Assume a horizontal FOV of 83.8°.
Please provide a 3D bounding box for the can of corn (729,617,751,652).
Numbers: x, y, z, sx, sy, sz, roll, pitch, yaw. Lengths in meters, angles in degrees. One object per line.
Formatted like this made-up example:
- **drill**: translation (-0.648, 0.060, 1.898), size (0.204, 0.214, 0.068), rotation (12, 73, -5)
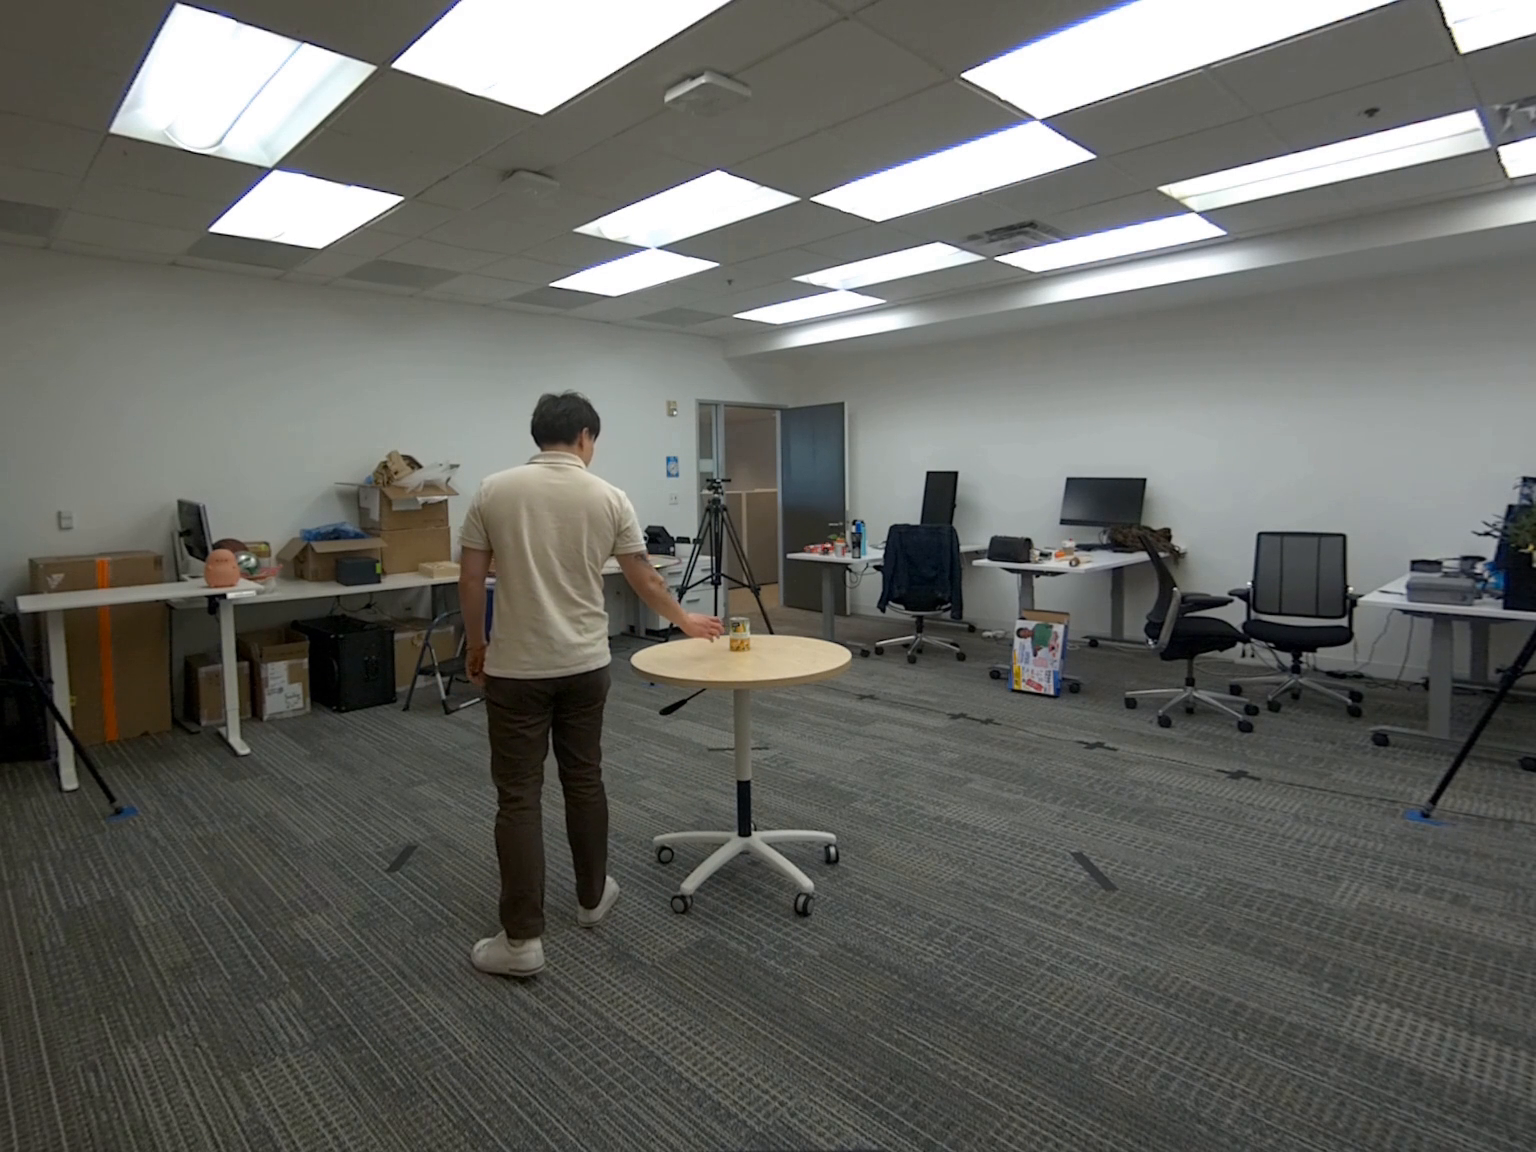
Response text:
- **can of corn**: translation (-0.101, 0.209, 3.069), size (0.074, 0.111, 0.074), rotation (-2, 3, -2)
